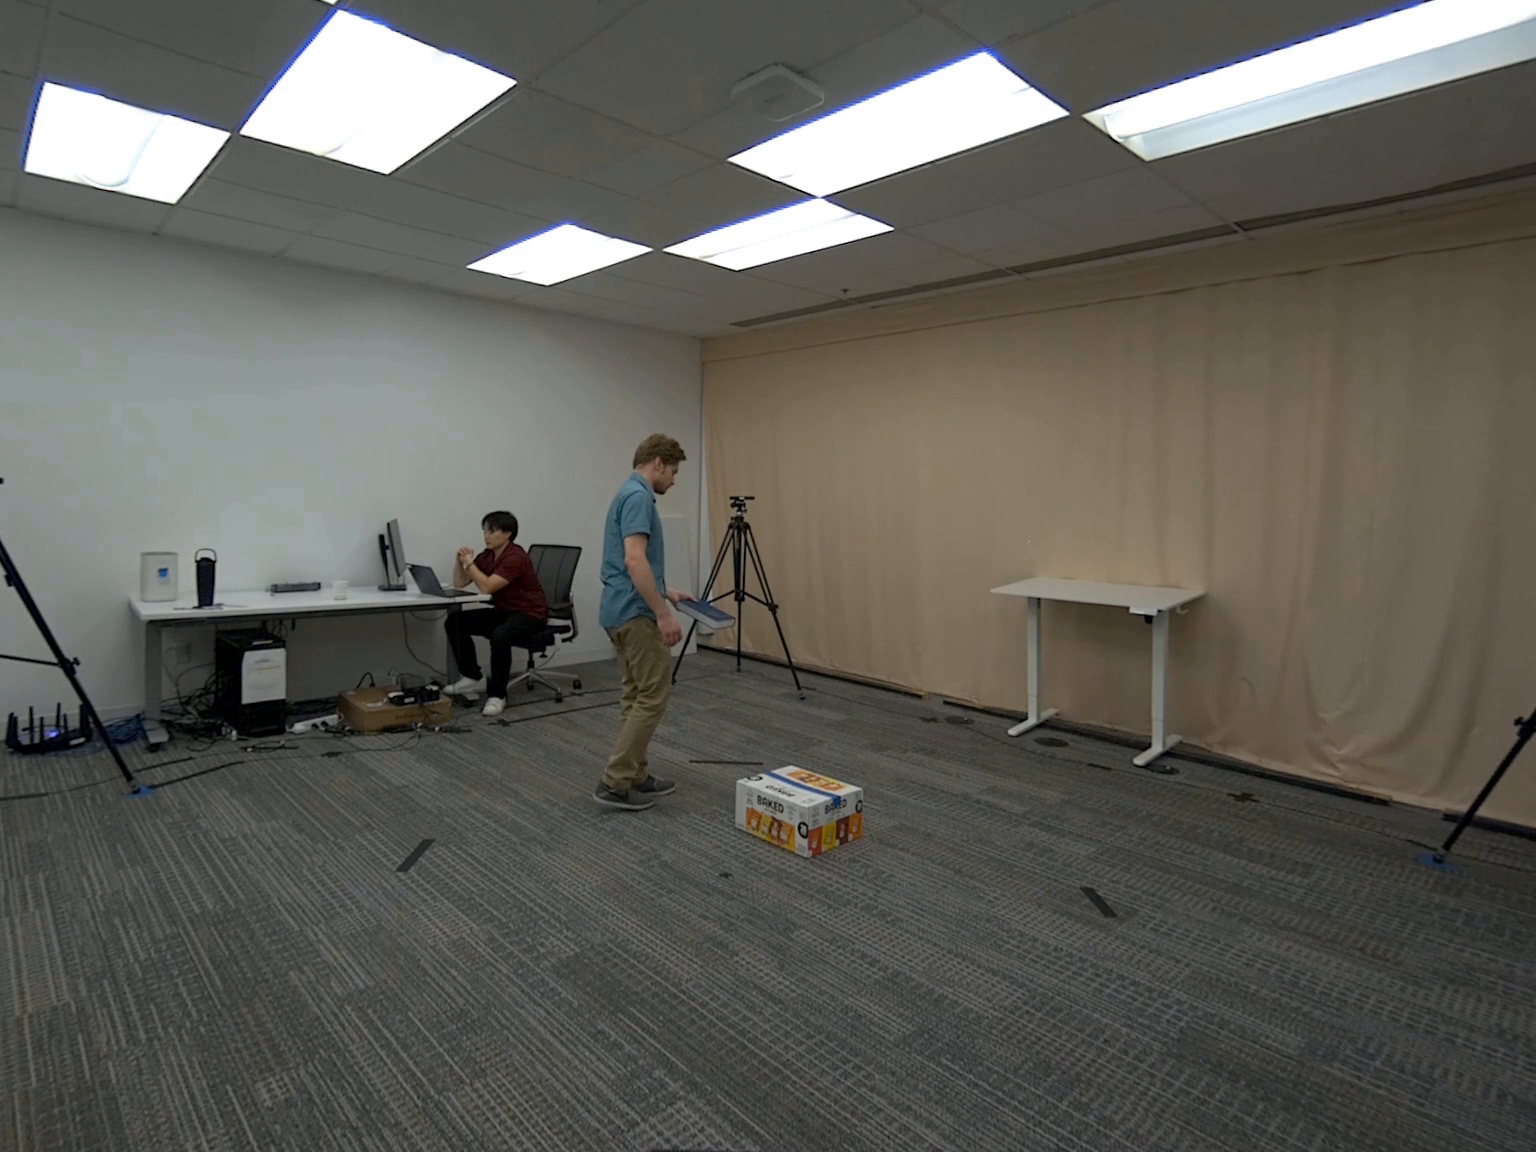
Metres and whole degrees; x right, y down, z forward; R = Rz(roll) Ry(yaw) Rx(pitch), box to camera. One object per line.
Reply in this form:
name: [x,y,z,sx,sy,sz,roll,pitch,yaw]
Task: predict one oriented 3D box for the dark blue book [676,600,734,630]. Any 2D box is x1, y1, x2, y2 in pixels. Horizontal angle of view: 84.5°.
dark blue book: [-0.314,0.175,4.012,0.251,0.045,0.160,25,18,28]
